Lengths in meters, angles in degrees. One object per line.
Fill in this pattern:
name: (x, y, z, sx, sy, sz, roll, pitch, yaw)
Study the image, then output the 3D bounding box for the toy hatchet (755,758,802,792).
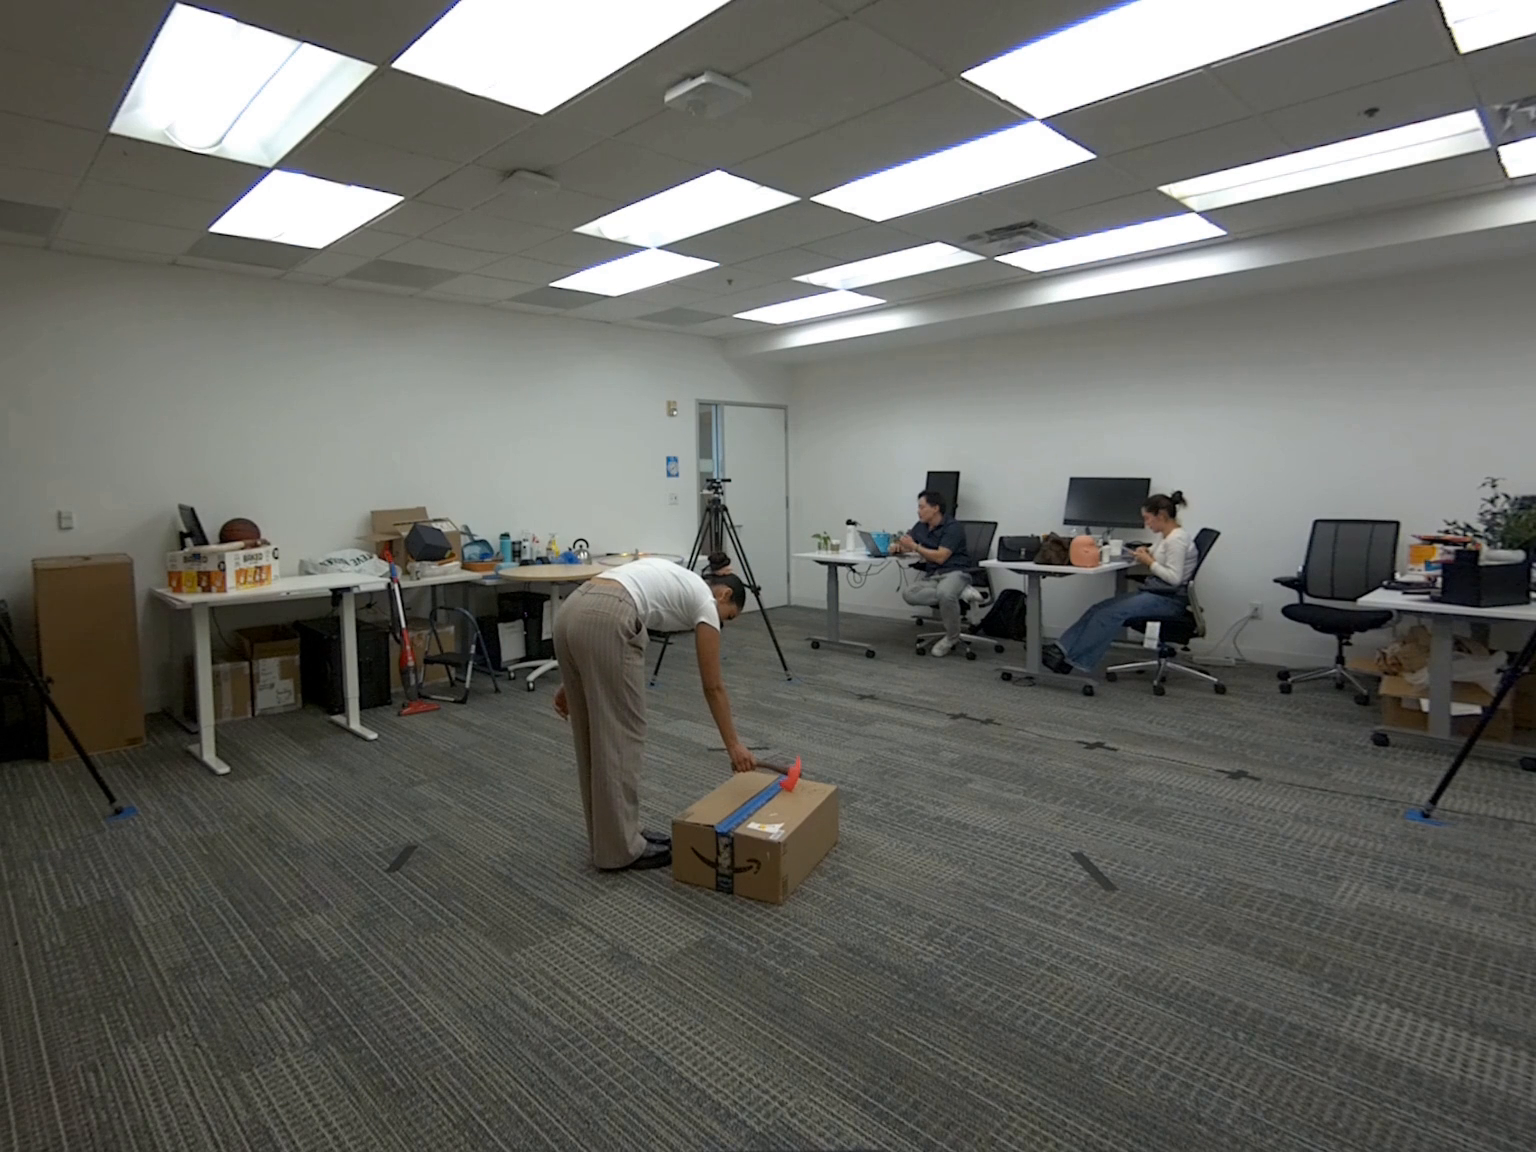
toy hatchet: (-0.008, 0.759, 3.251, 0.271, 0.134, 0.029, -4, -23, 3)
